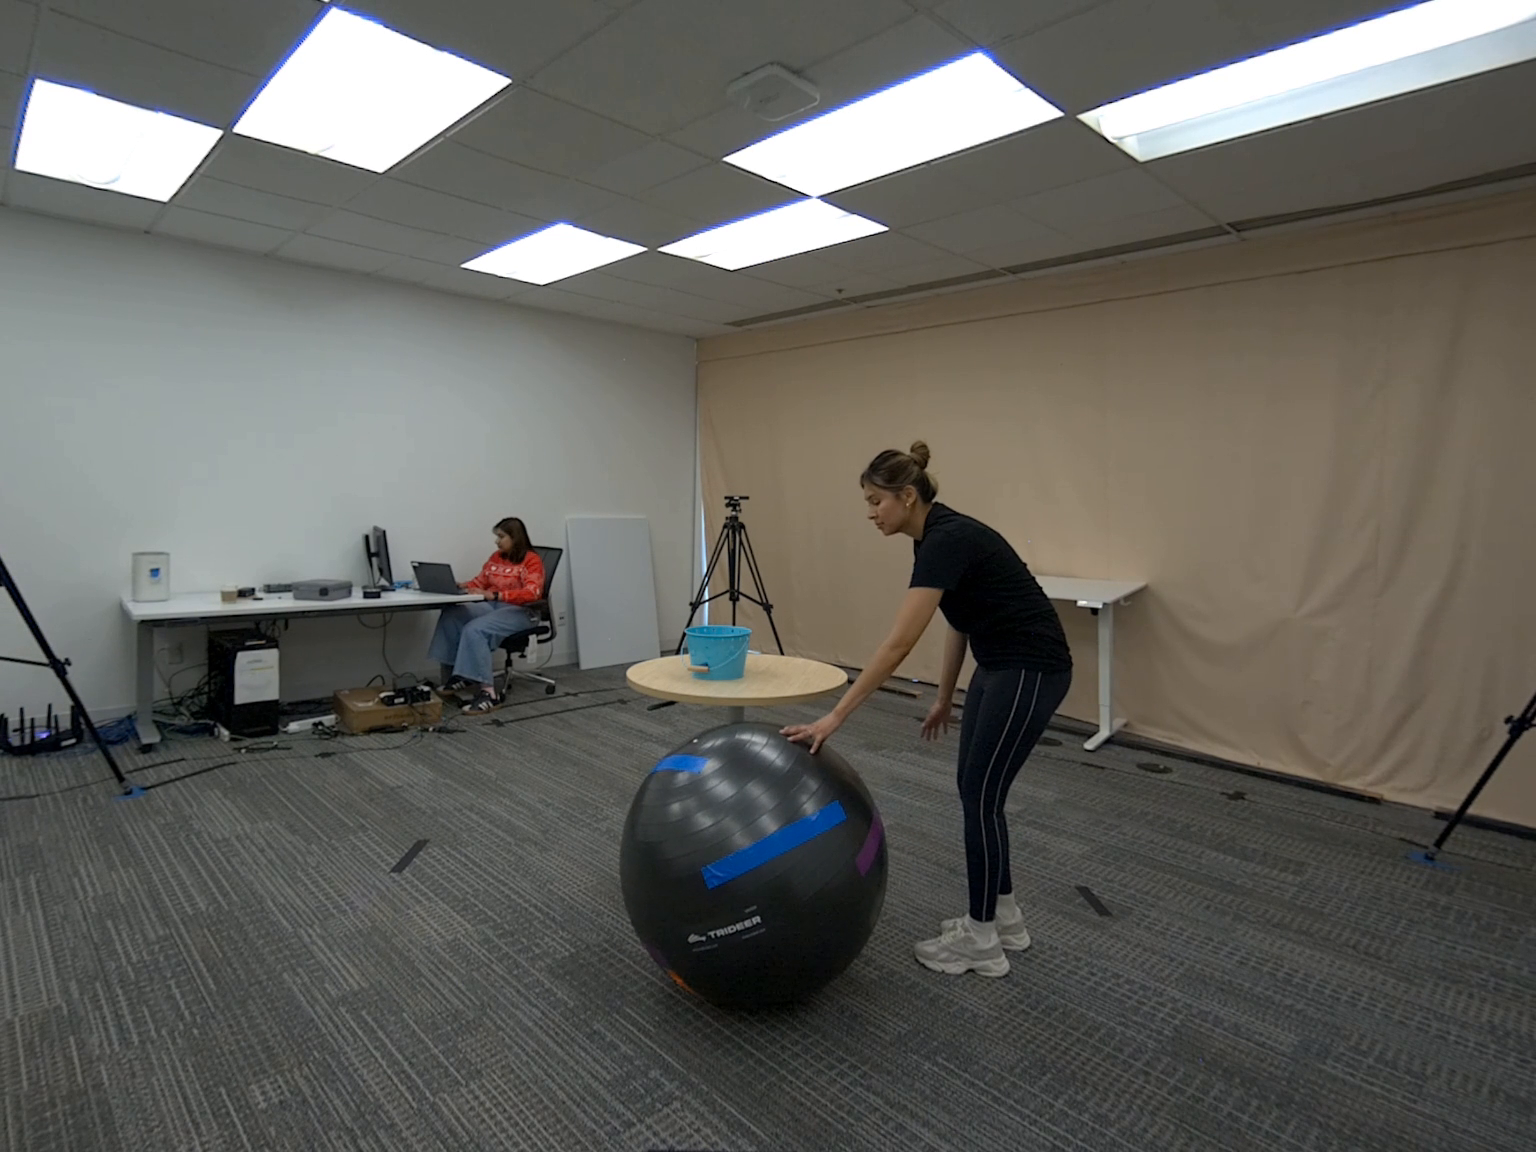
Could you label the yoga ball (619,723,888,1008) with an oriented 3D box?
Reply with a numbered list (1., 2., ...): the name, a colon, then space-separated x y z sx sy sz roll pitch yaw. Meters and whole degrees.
1. yoga ball: -0.043 0.807 2.382 0.757 0.756 0.761 1 4 -1
